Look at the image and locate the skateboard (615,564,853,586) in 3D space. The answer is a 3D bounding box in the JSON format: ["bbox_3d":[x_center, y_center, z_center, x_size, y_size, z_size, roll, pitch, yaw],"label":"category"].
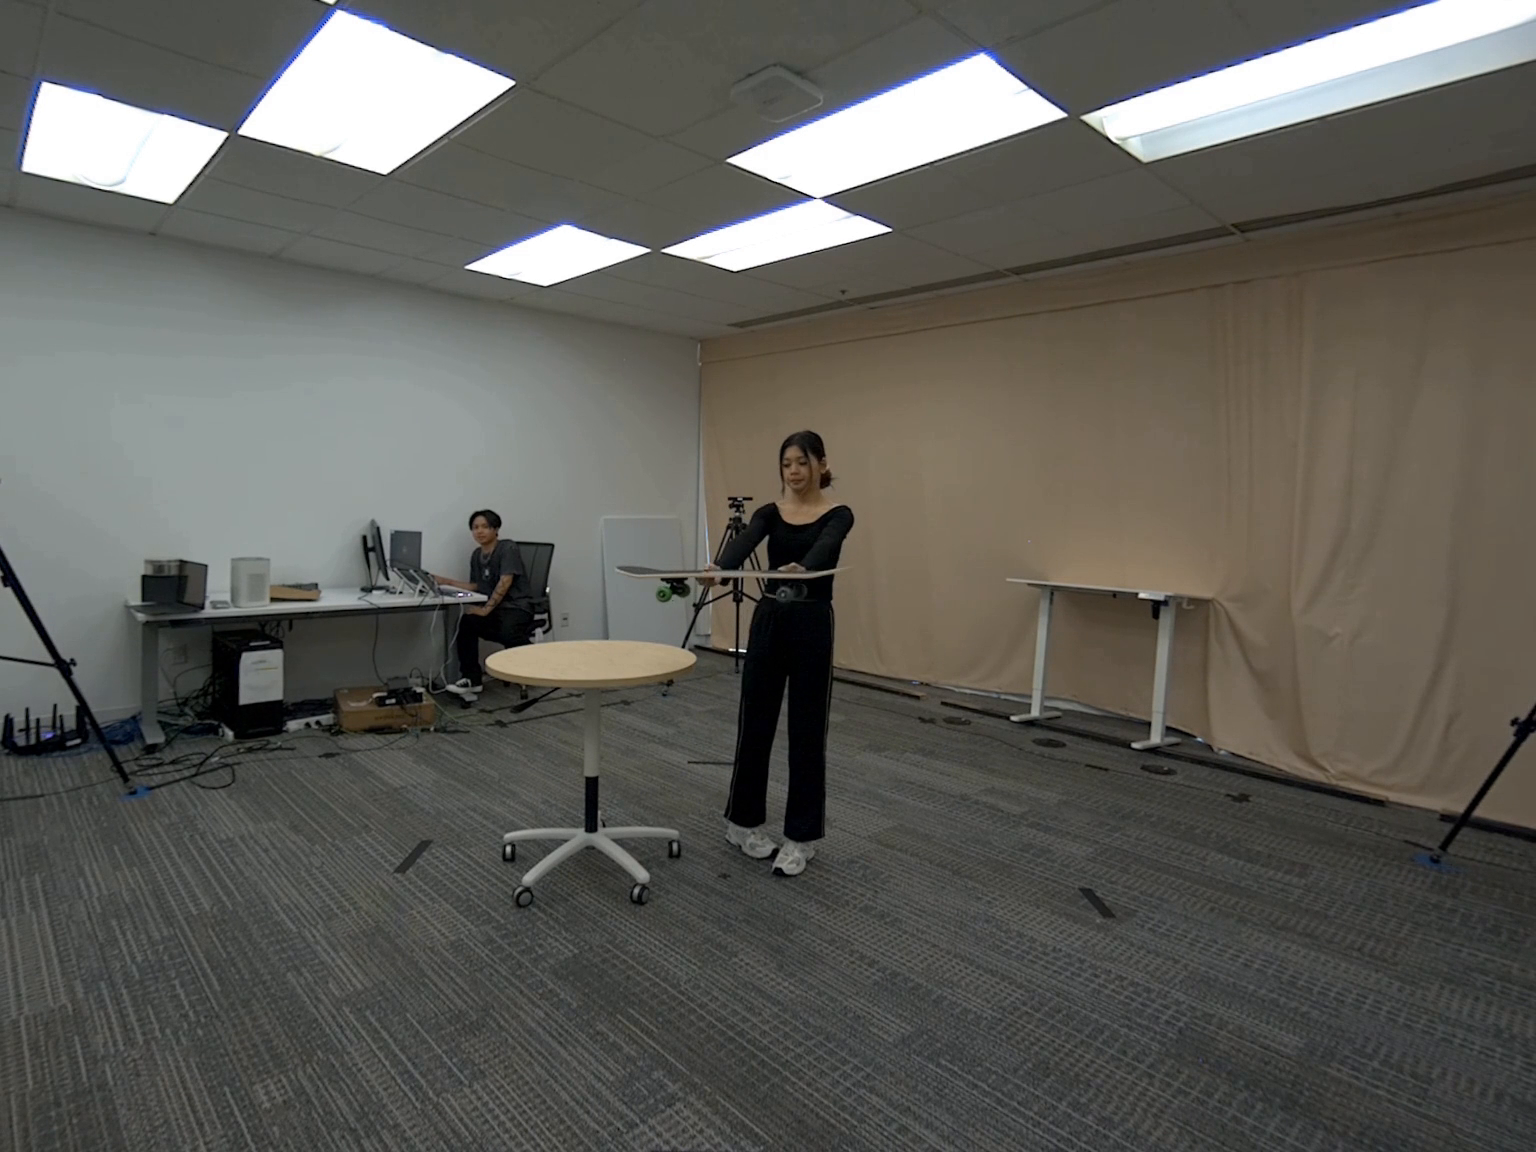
[{"bbox_3d":[-0.139,0.030,2.646,0.799,0.110,0.191,0,6,23],"label":"skateboard"}]
